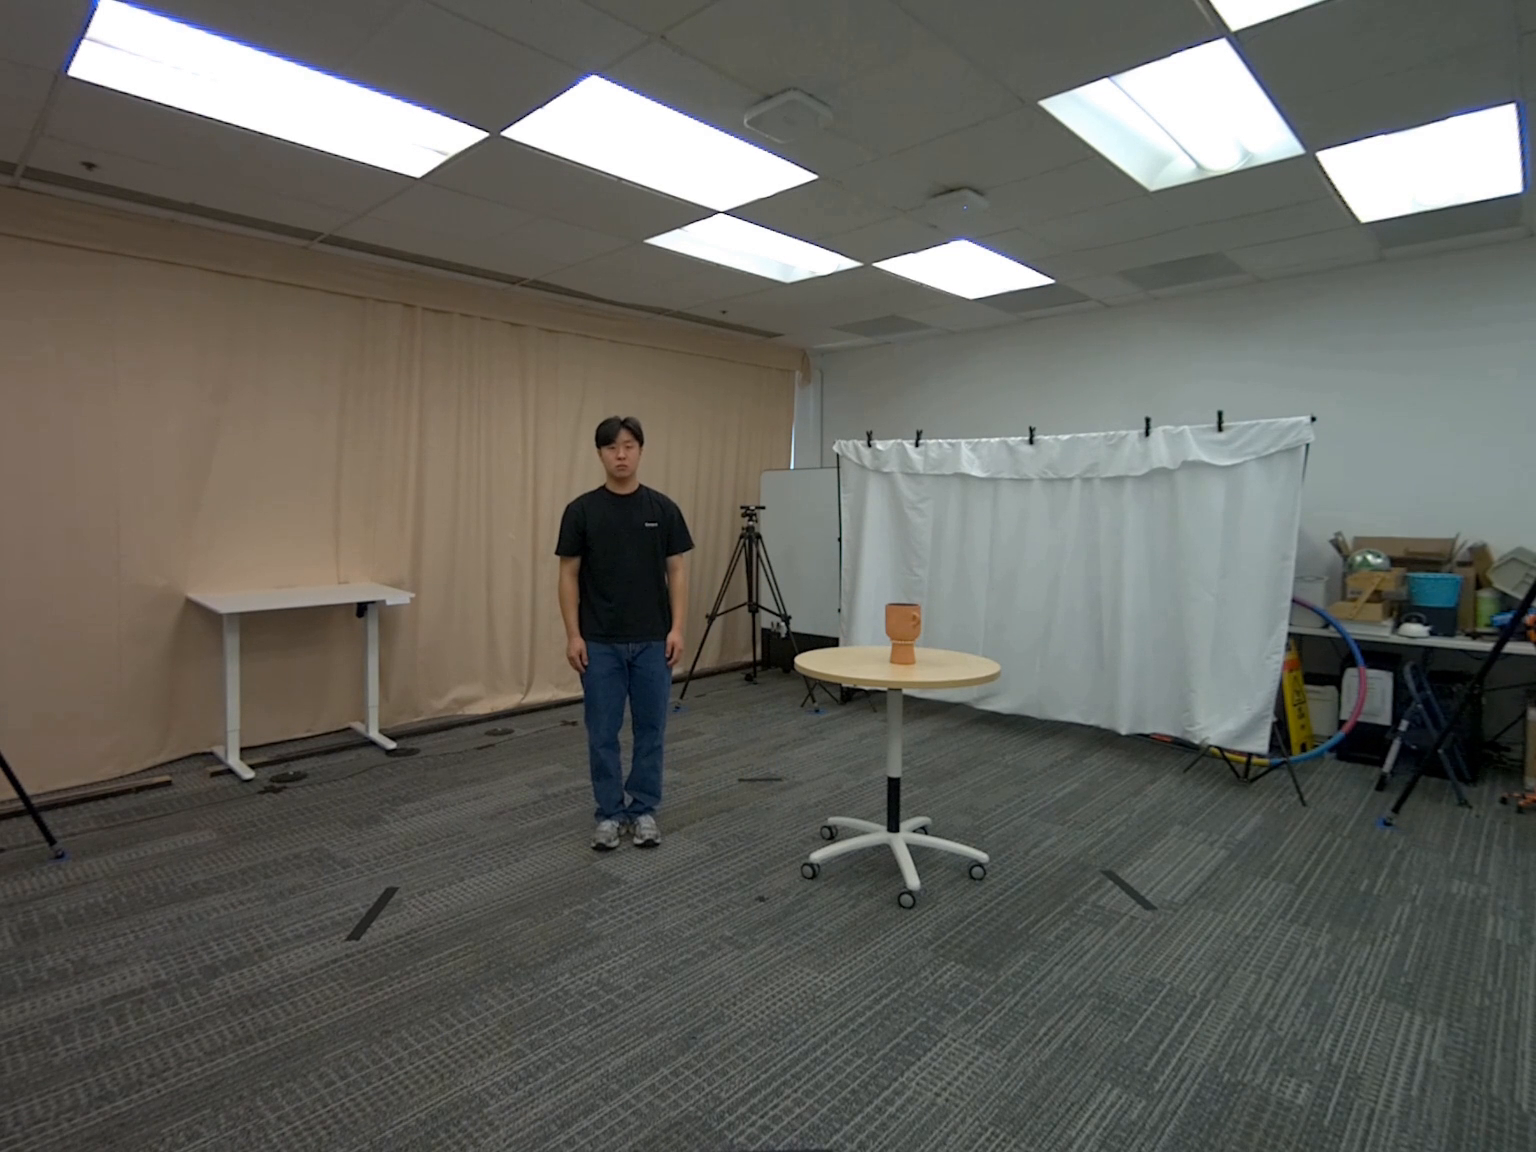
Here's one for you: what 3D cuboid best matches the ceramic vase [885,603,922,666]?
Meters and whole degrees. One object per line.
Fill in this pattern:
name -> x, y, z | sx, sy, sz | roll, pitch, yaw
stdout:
ceramic vase -> 0.523, 0.221, 3.194 | 0.136, 0.219, 0.157 | 1, 2, 10
